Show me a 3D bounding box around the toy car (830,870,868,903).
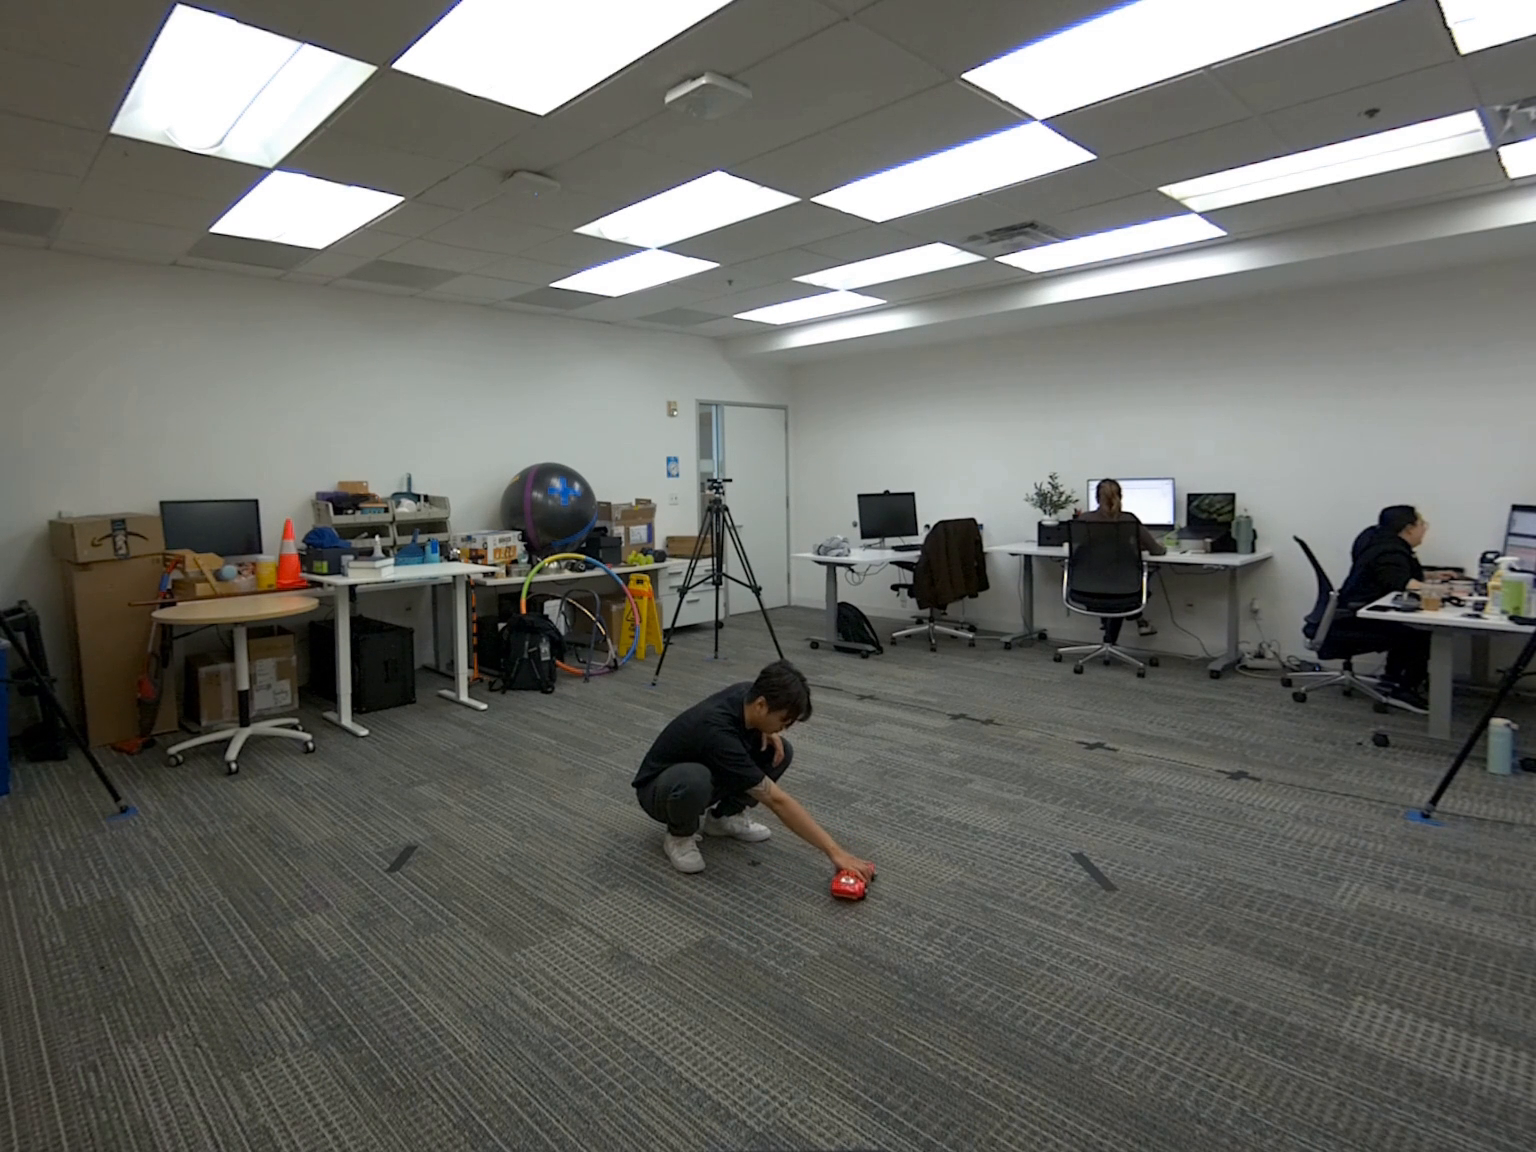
[{"bbox_3d":[0.287,1.032,2.893,0.133,0.083,0.248,2,-5,21],"label":"toy car"}]
